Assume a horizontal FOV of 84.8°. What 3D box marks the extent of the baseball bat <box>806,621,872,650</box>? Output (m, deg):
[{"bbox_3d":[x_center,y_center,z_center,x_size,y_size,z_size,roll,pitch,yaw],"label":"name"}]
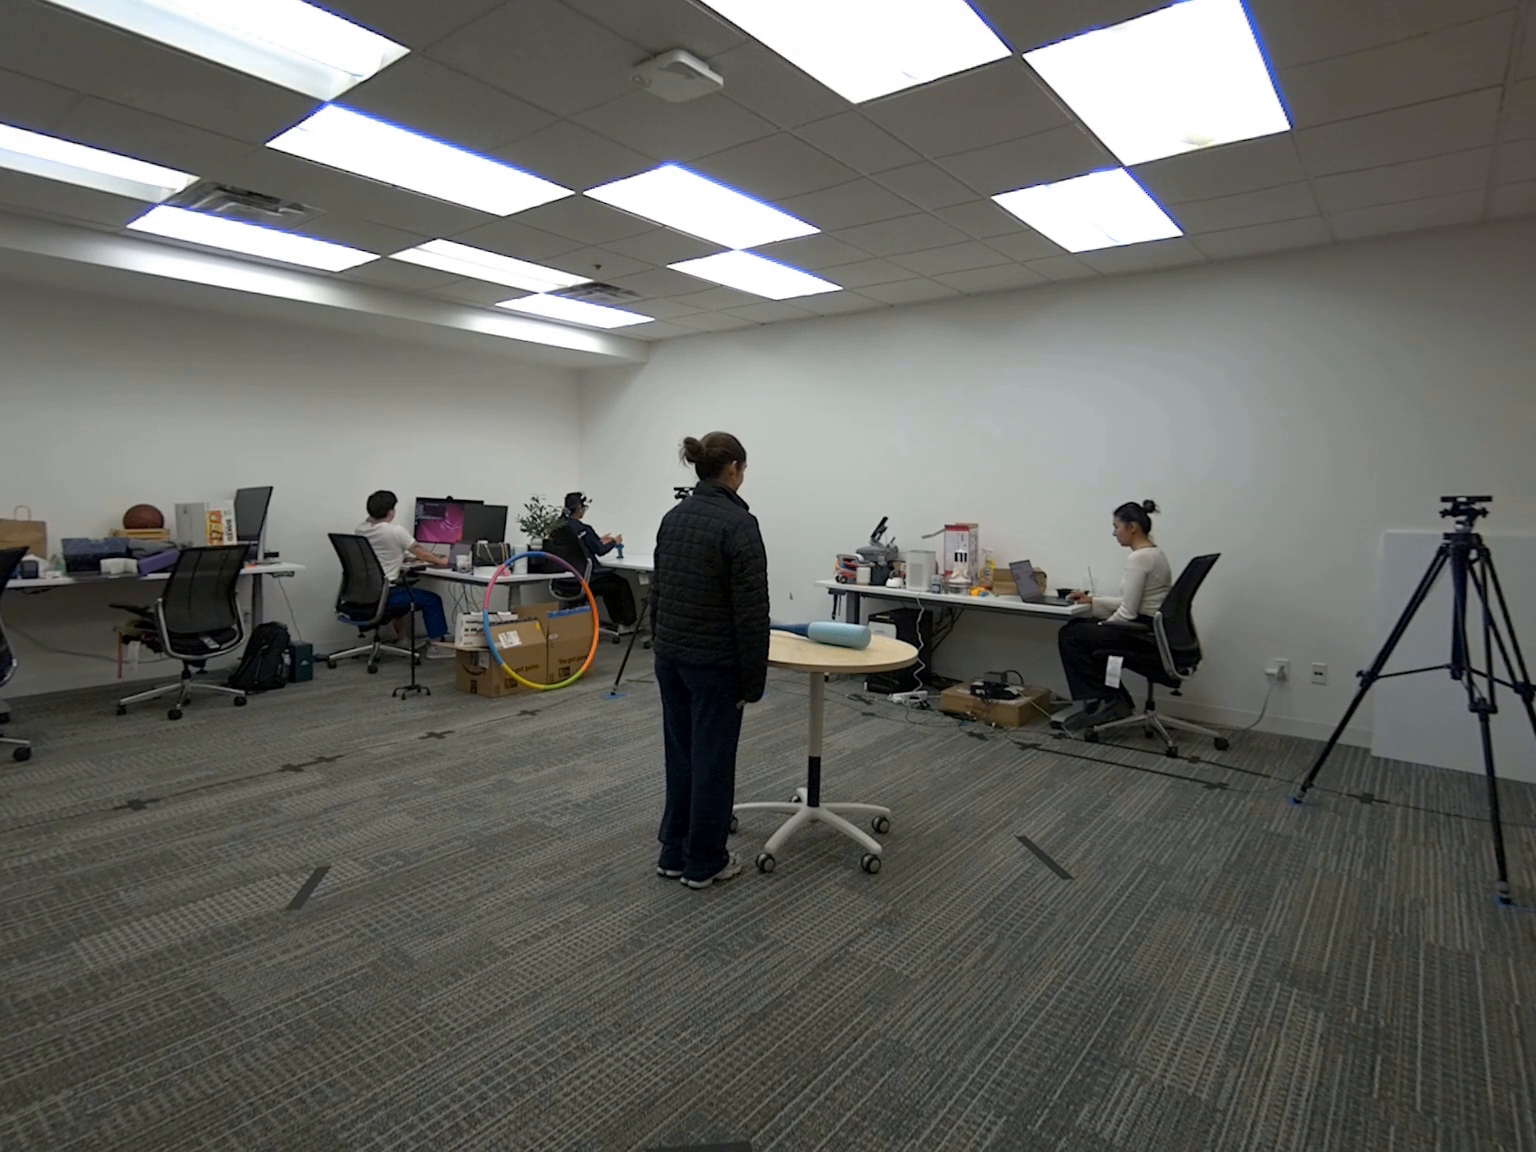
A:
[{"bbox_3d":[0.173,0.221,3.428,0.560,0.089,0.086,4,5,36],"label":"baseball bat"}]
